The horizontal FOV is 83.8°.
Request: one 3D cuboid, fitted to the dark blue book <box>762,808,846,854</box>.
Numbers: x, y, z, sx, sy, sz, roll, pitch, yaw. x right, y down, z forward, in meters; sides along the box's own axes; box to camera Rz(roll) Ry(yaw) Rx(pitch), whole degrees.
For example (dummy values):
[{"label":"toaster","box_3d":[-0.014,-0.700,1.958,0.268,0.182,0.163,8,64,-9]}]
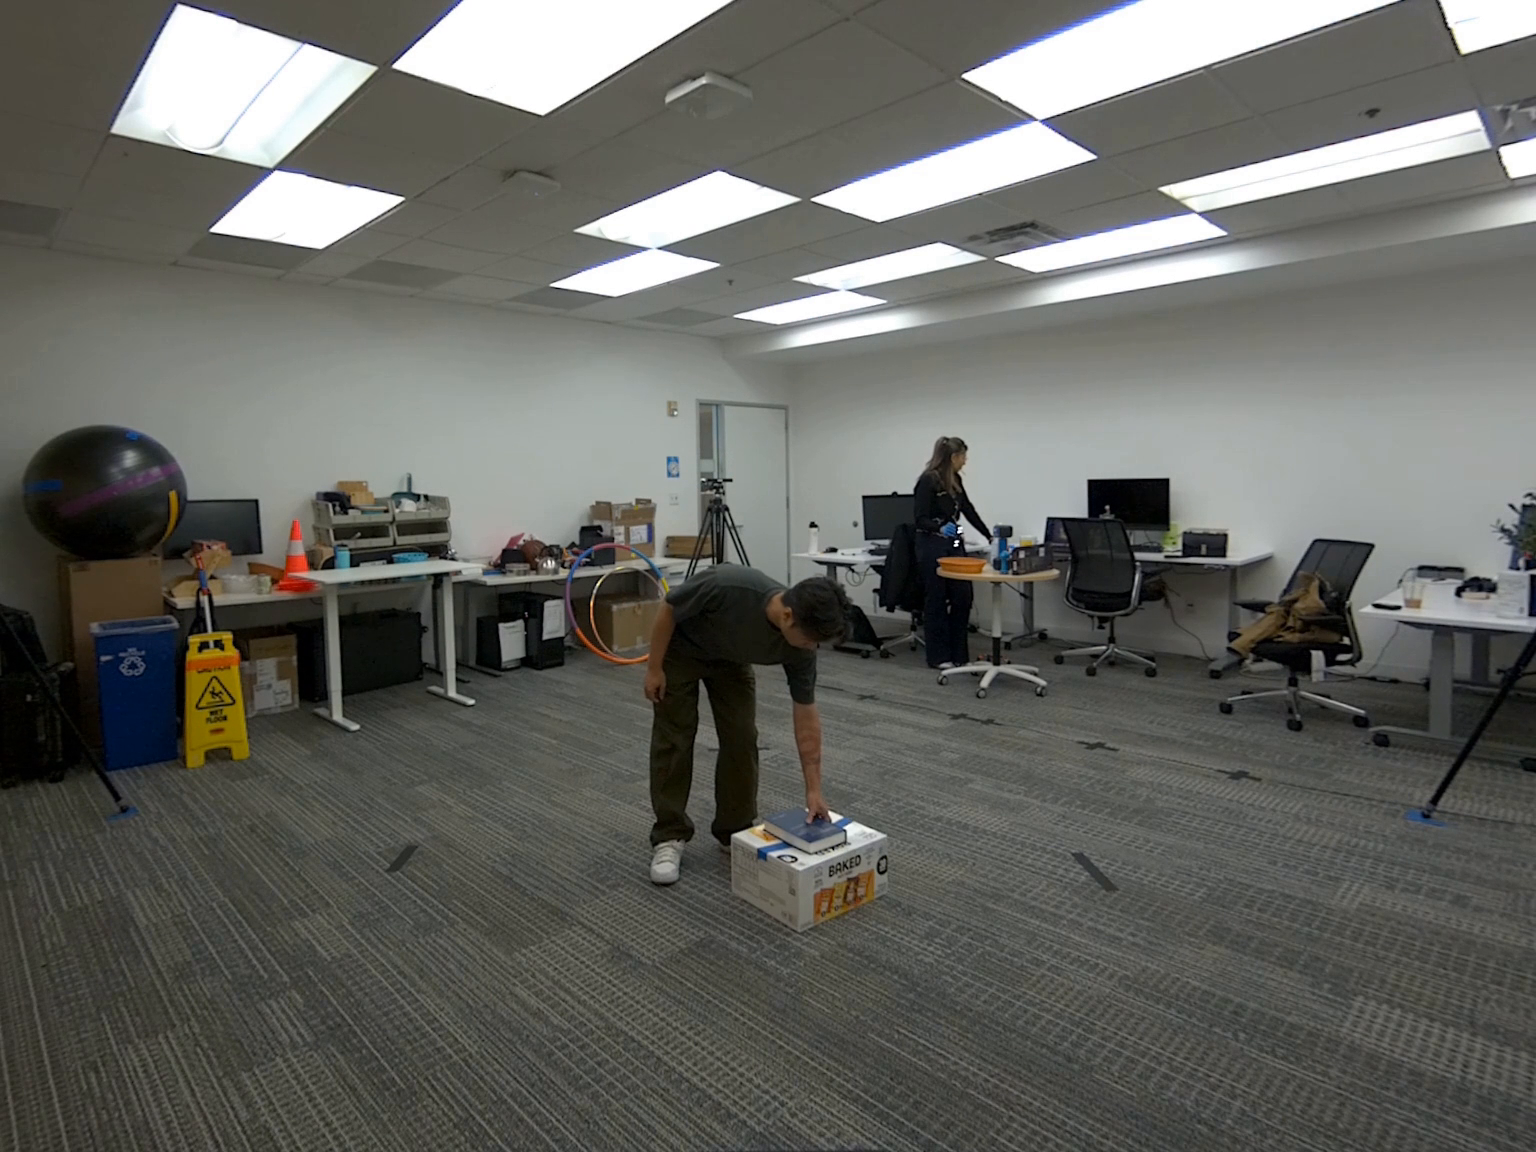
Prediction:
[{"label":"dark blue book","box_3d":[0.127,0.854,2.860,0.159,0.045,0.252,-8,9,-37]}]
